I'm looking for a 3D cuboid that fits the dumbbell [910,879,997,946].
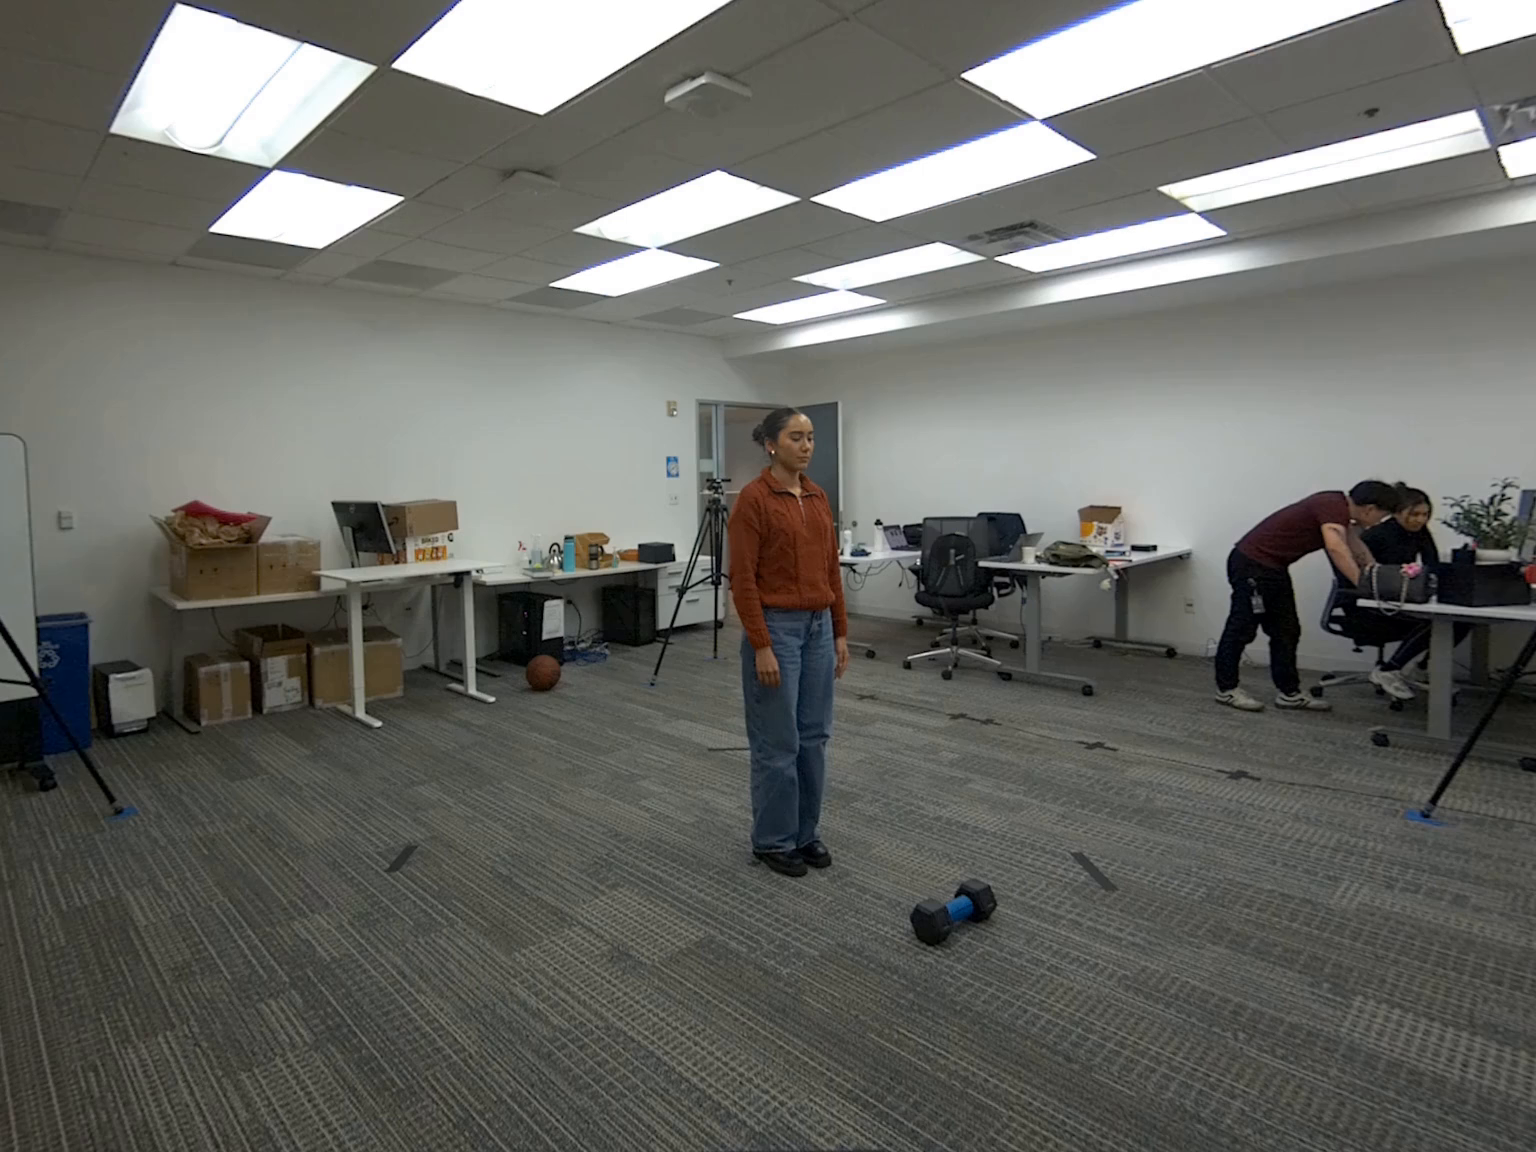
[{"bbox_3d":[0.582,1.034,2.631,0.286,0.121,0.113,-5,35,-37],"label":"dumbbell"}]
